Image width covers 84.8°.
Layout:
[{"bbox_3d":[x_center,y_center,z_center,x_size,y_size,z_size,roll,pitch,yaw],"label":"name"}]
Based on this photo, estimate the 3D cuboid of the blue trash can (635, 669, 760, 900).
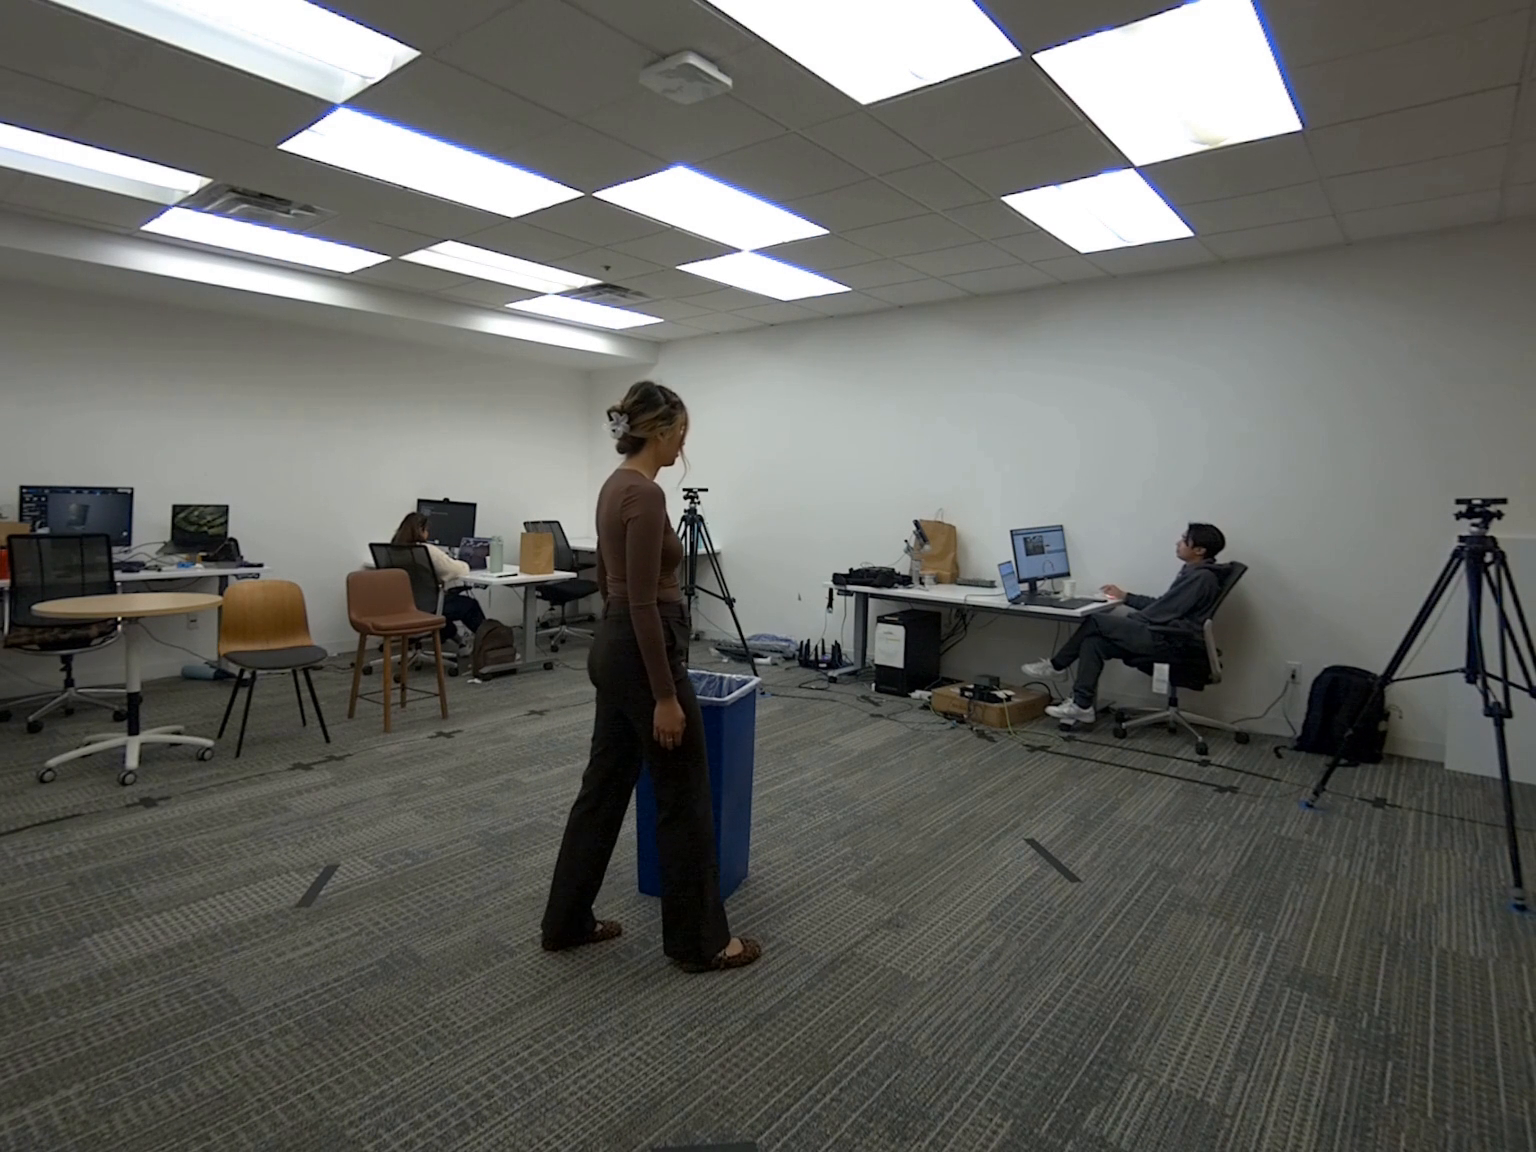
[{"bbox_3d":[-0.261,0.722,2.977,0.387,0.712,0.366,2,3,21],"label":"blue trash can"}]
